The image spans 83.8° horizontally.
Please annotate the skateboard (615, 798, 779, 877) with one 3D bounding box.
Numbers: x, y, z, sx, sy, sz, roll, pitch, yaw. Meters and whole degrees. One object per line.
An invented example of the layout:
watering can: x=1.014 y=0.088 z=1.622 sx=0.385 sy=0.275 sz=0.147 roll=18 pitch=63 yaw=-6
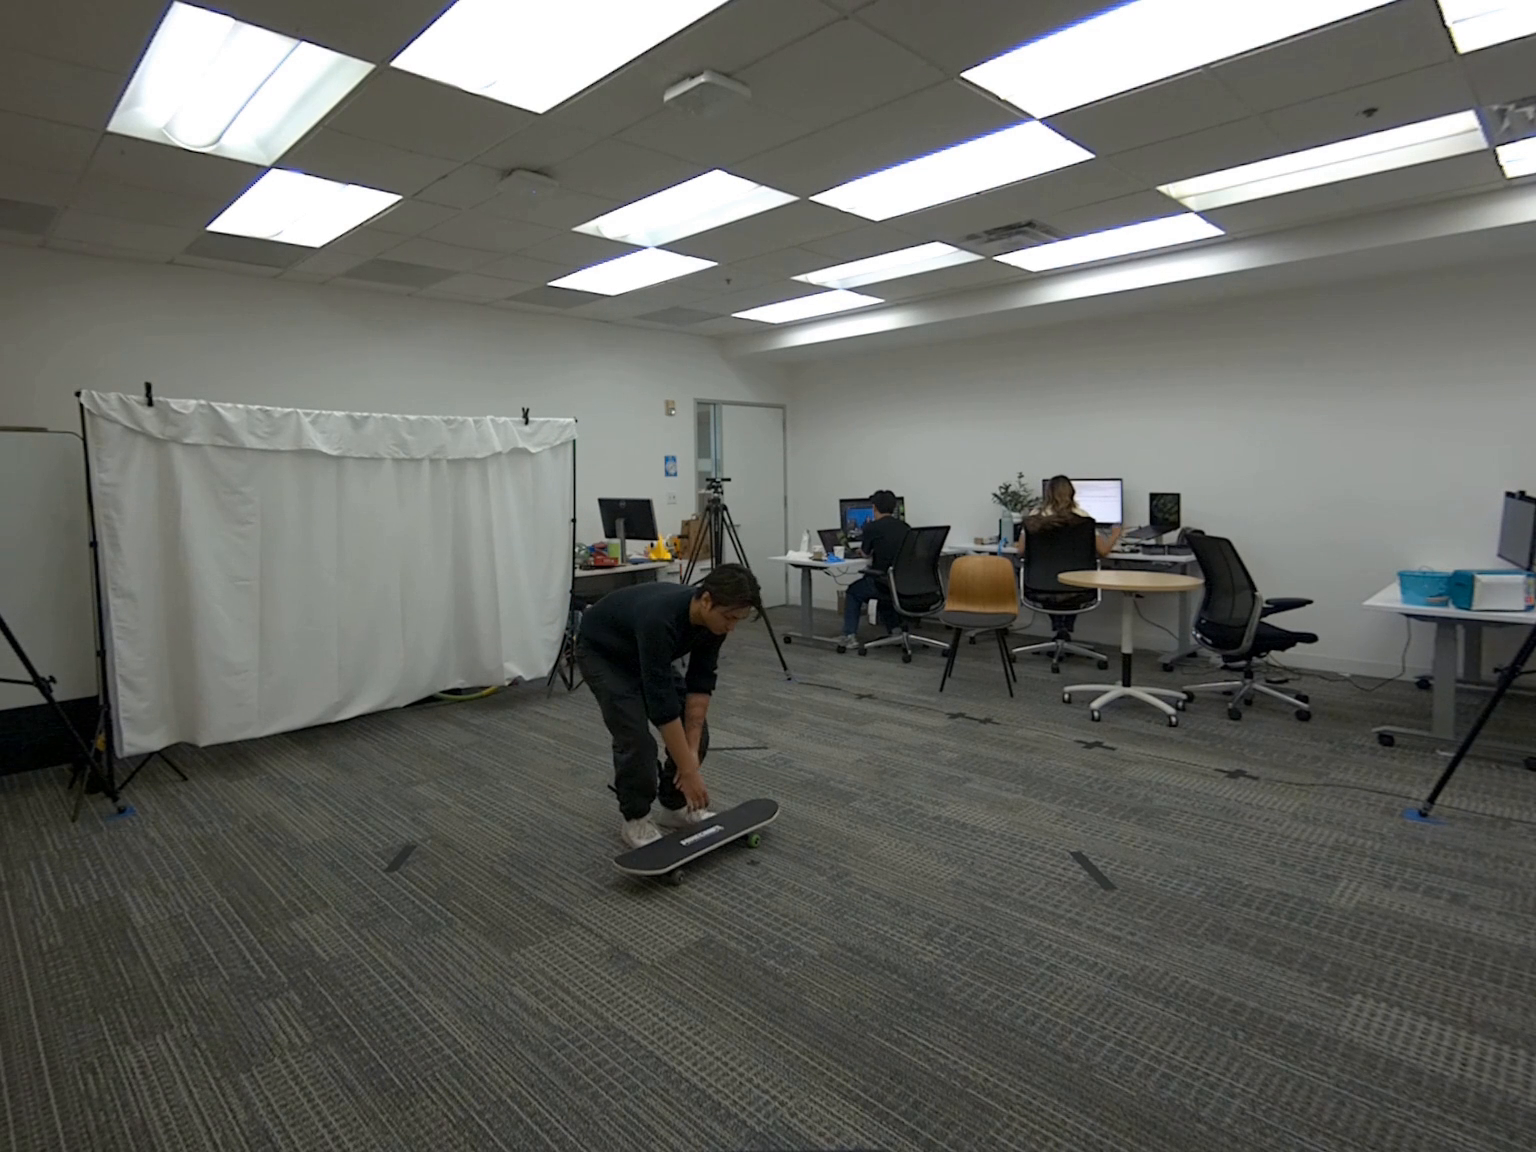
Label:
skateboard: x=-0.239 y=0.979 z=3.148 sx=0.199 sy=0.110 sz=0.765 roll=5 pitch=9 yaw=41
